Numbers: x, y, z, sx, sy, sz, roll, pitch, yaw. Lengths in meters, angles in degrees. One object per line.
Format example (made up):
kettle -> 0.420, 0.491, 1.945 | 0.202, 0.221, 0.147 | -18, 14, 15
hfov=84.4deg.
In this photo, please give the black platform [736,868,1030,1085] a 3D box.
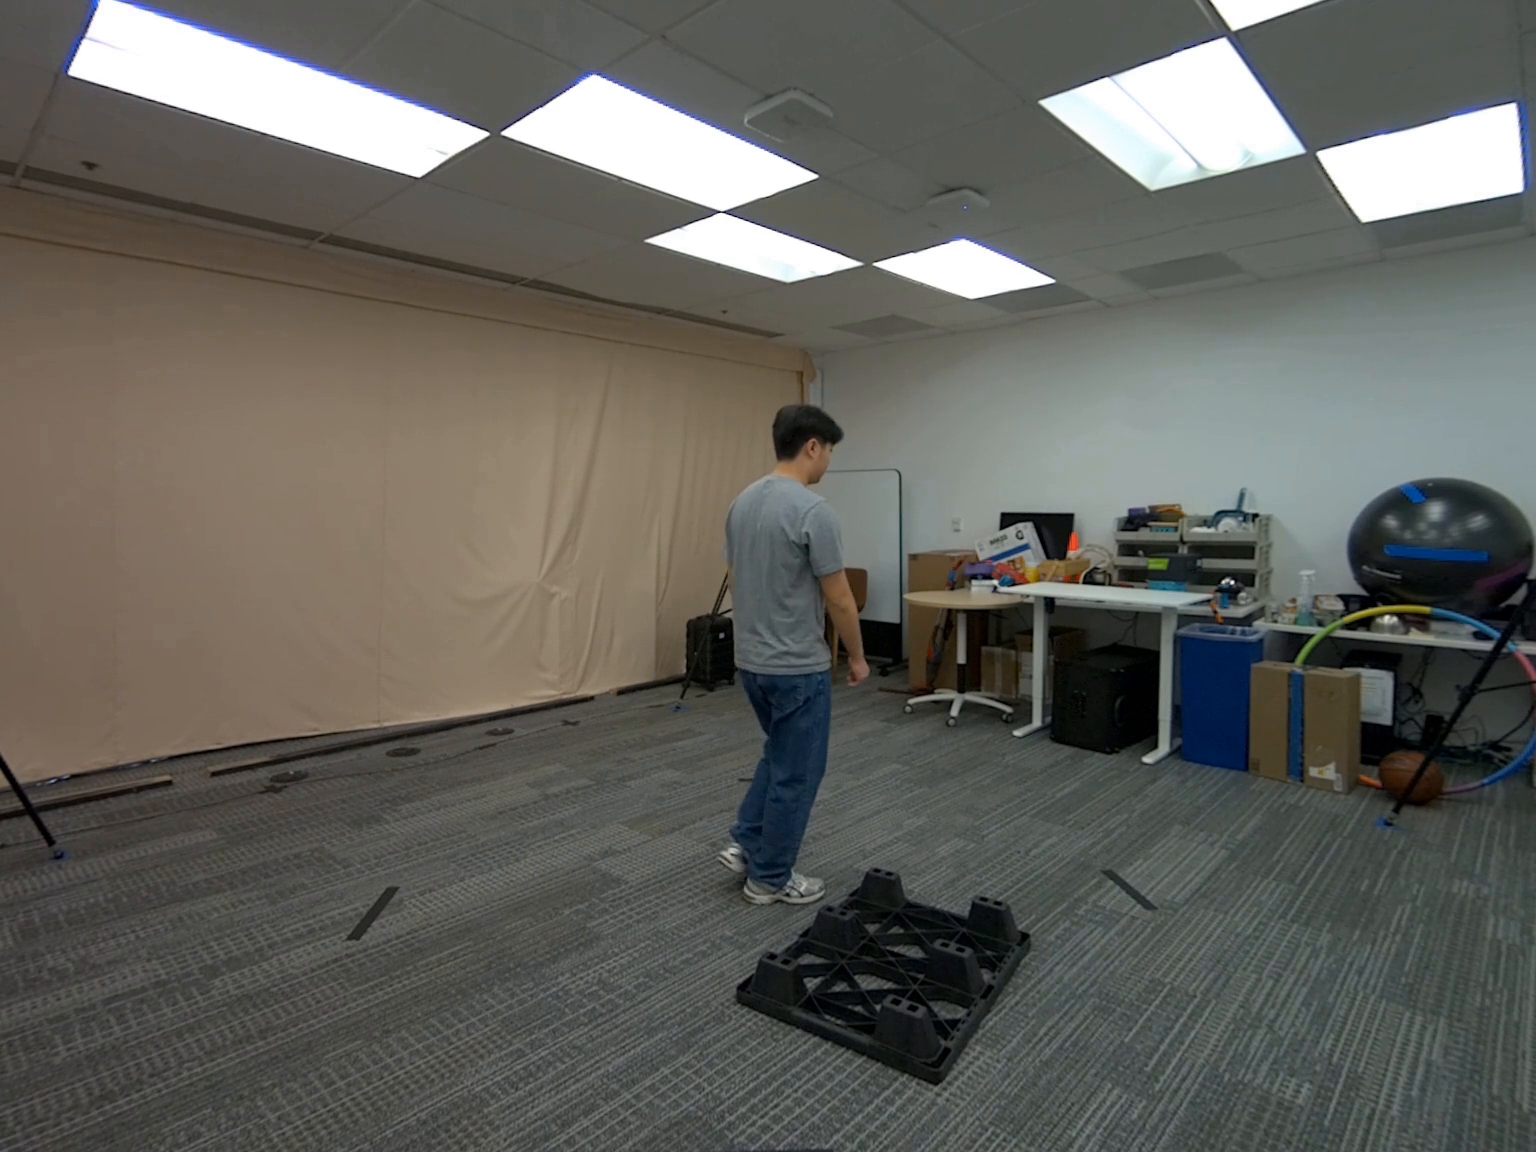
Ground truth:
black platform -> 0.377, 1.119, 2.496 | 0.624, 0.143, 0.783 | 2, 6, 33
